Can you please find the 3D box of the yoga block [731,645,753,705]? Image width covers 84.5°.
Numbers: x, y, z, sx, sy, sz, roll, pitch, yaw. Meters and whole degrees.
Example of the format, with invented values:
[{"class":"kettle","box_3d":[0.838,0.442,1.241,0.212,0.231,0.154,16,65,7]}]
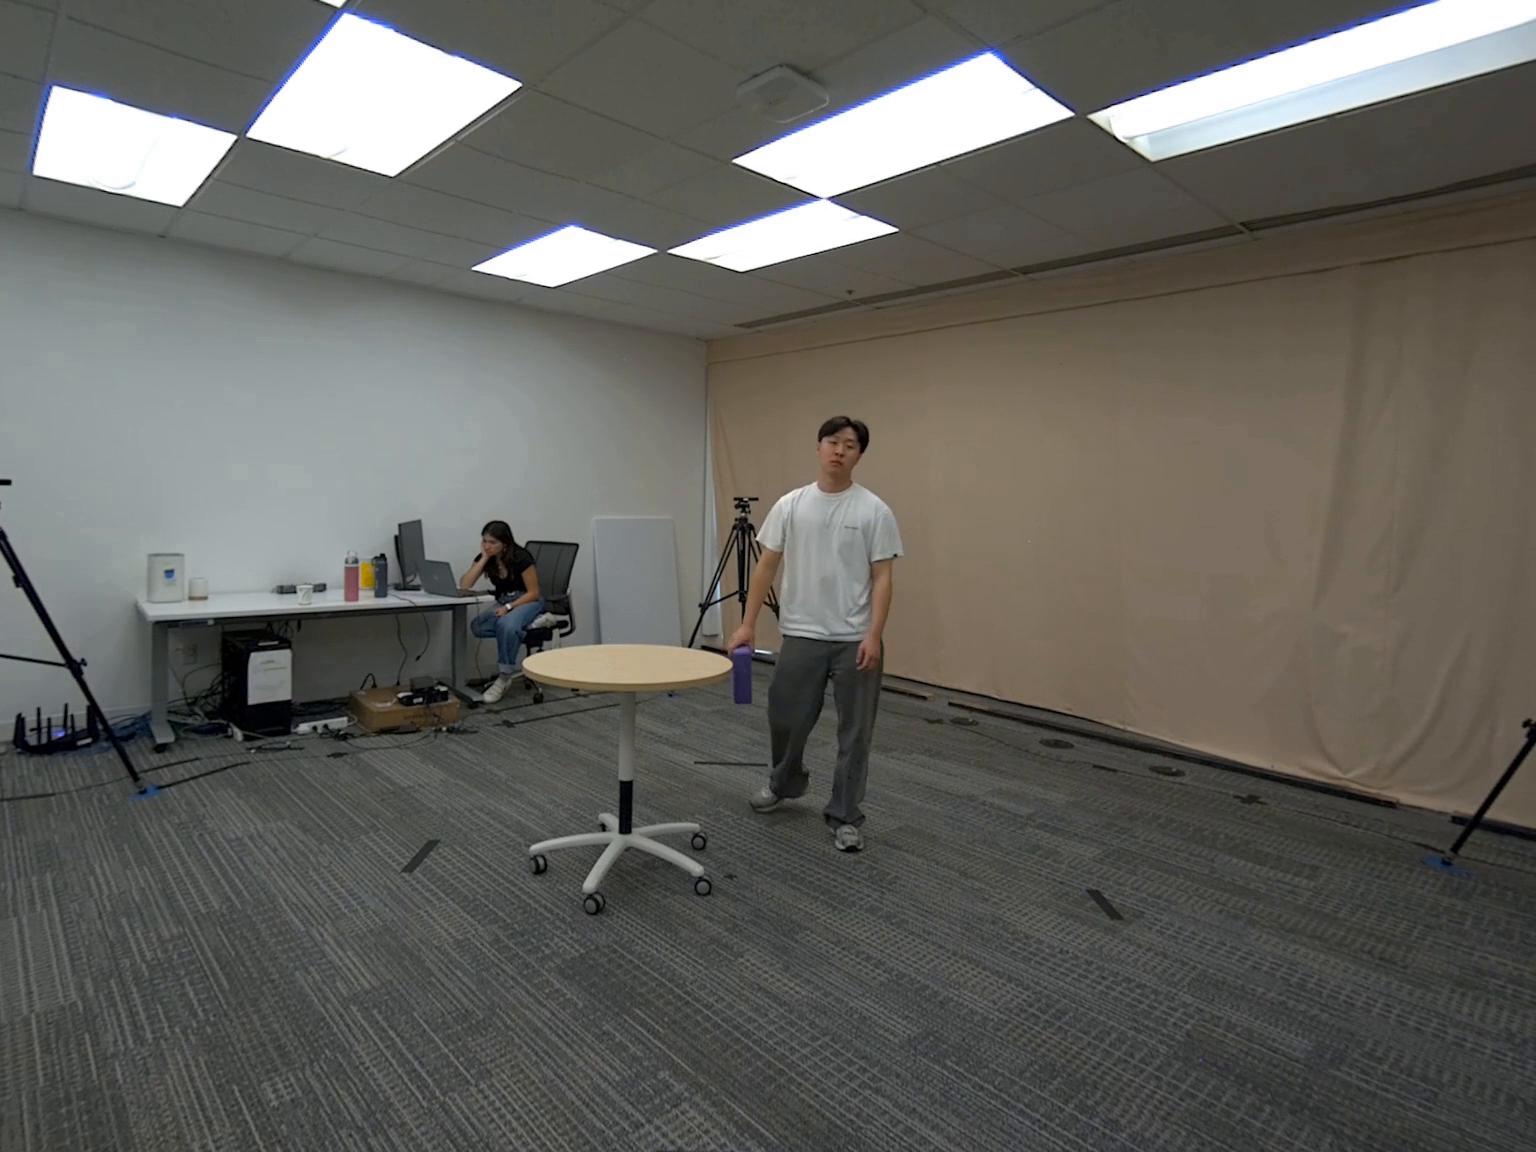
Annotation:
[{"class":"yoga block","box_3d":[-0.098,0.397,3.490,0.076,0.227,0.150,-1,14,1]}]
